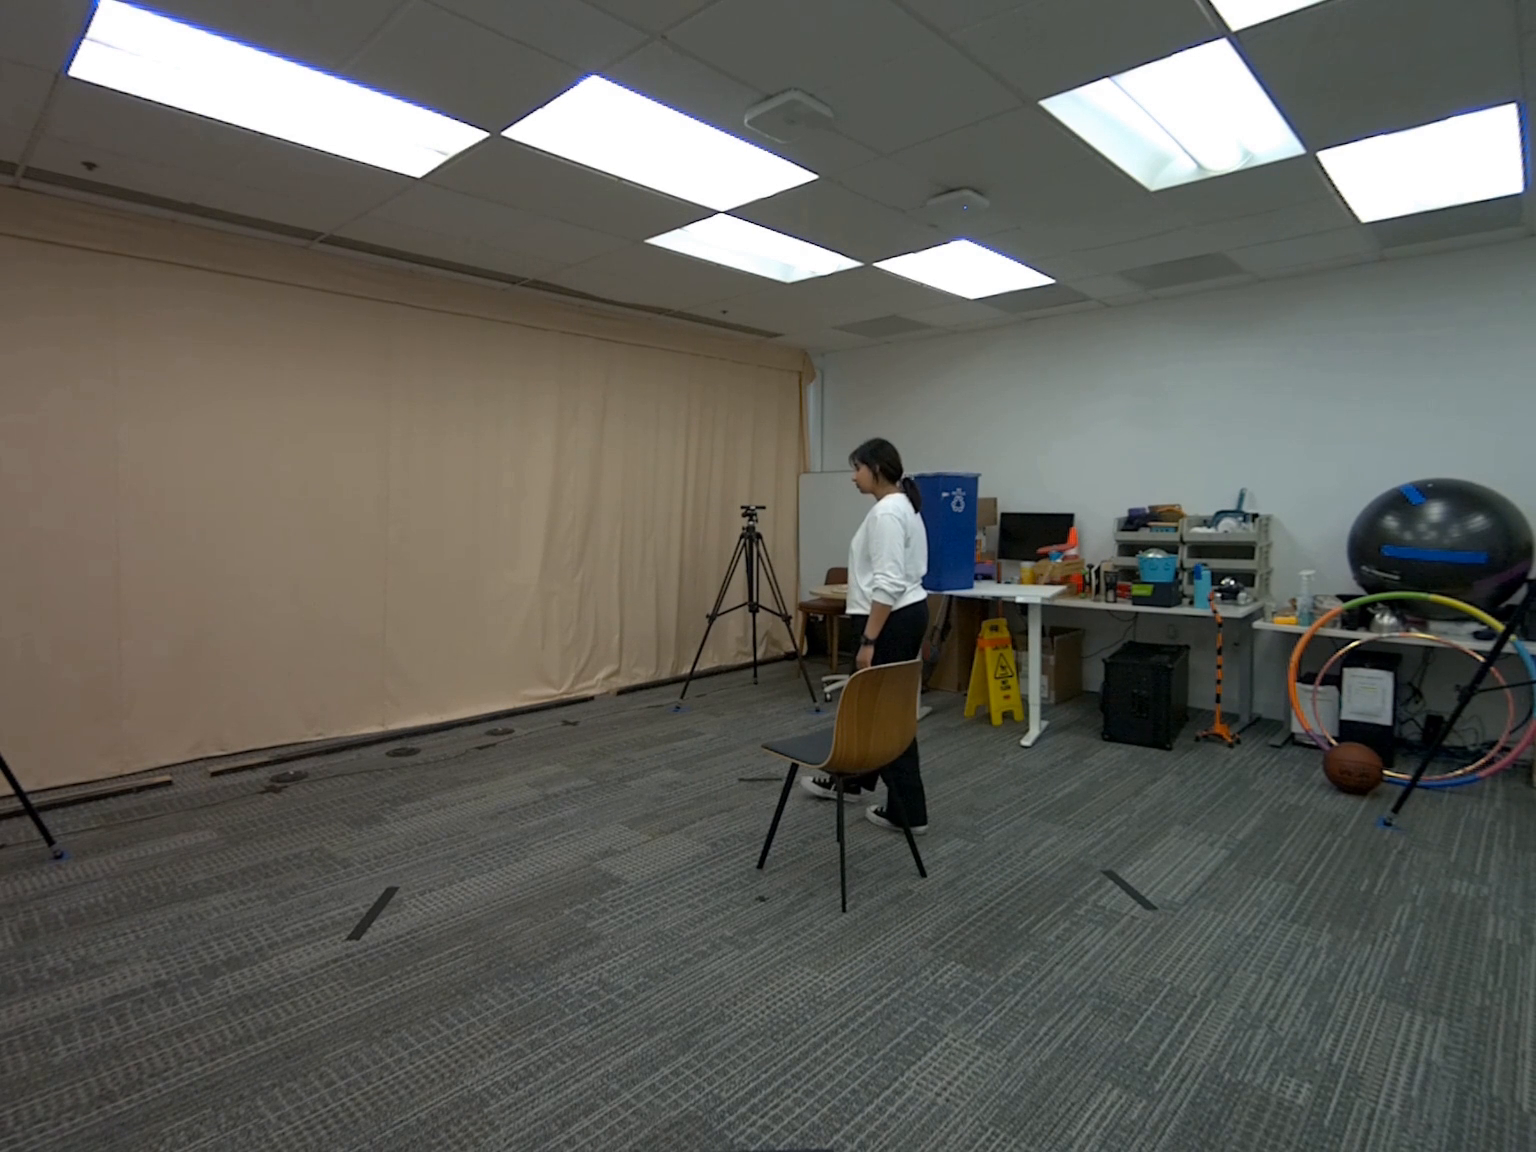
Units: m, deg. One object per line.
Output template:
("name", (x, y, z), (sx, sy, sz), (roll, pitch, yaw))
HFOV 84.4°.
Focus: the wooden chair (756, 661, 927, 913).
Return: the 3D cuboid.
("wooden chair", (0.271, 0.700, 3.164), (0.463, 0.874, 0.541), (-3, 9, -40))
